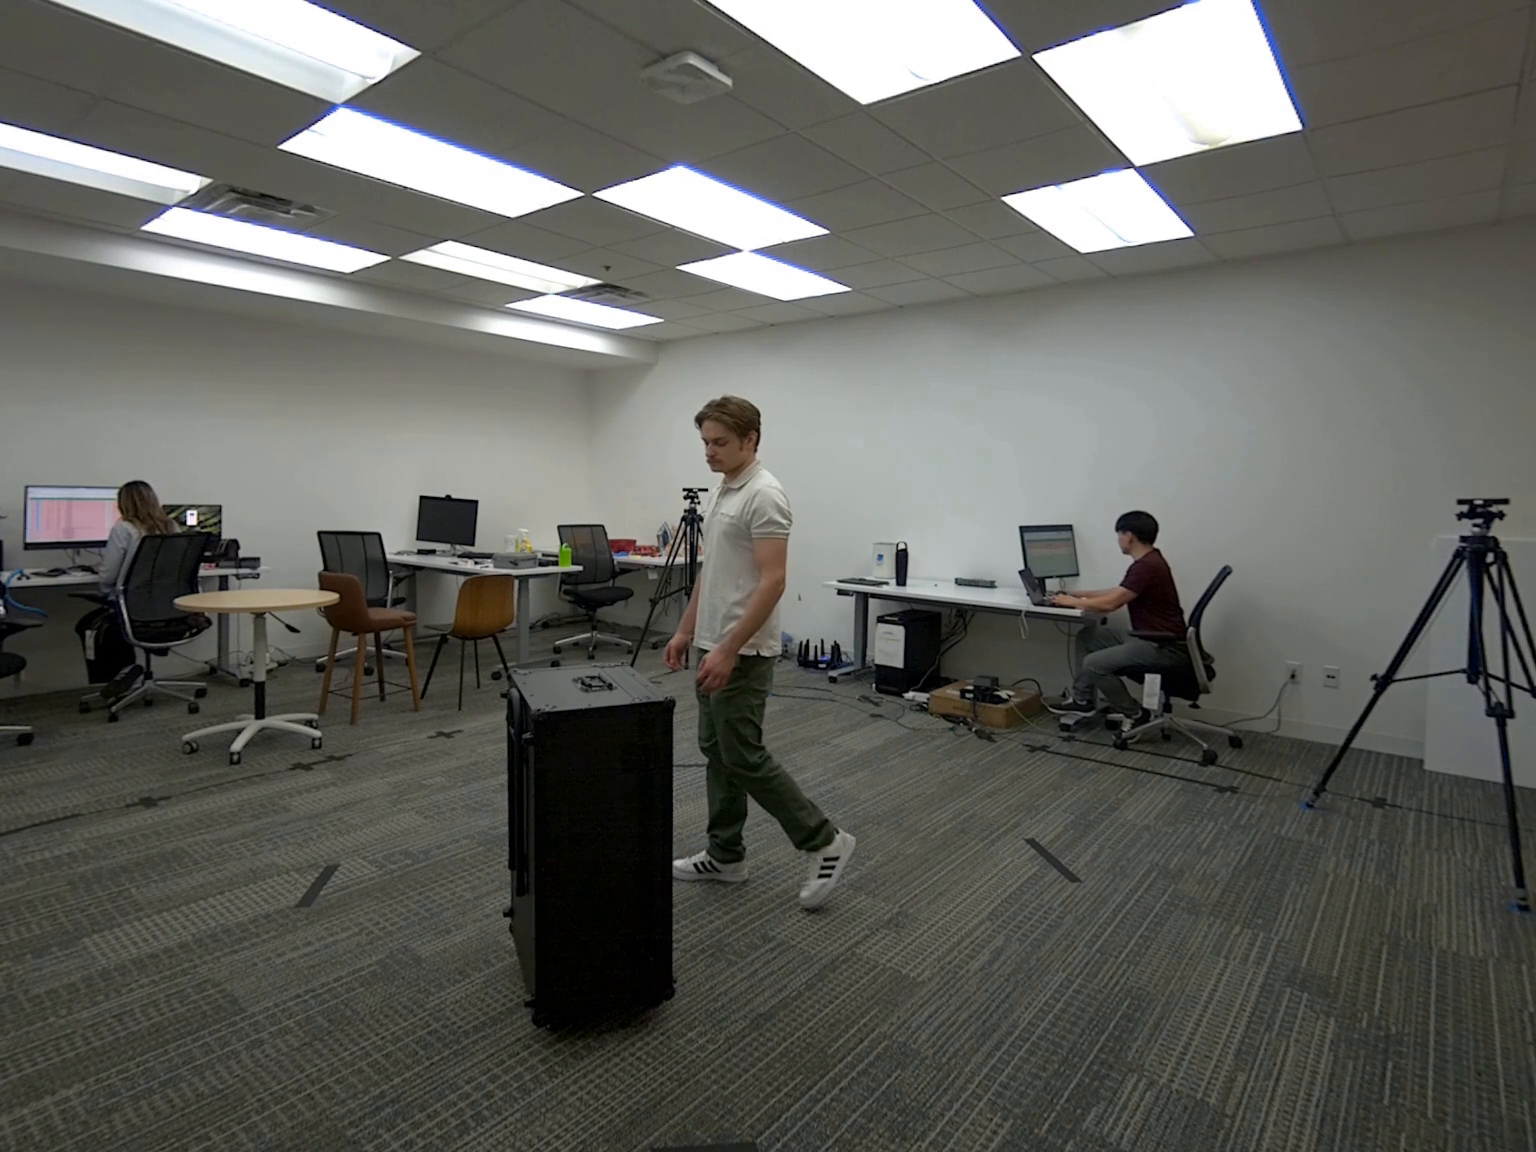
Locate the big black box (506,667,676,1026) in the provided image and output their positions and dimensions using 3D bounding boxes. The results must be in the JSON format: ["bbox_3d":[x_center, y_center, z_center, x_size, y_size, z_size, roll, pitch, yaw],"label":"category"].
[{"bbox_3d":[-0.511,0.722,2.328,0.377,0.865,0.537,-2,4,-23],"label":"big black box"}]
